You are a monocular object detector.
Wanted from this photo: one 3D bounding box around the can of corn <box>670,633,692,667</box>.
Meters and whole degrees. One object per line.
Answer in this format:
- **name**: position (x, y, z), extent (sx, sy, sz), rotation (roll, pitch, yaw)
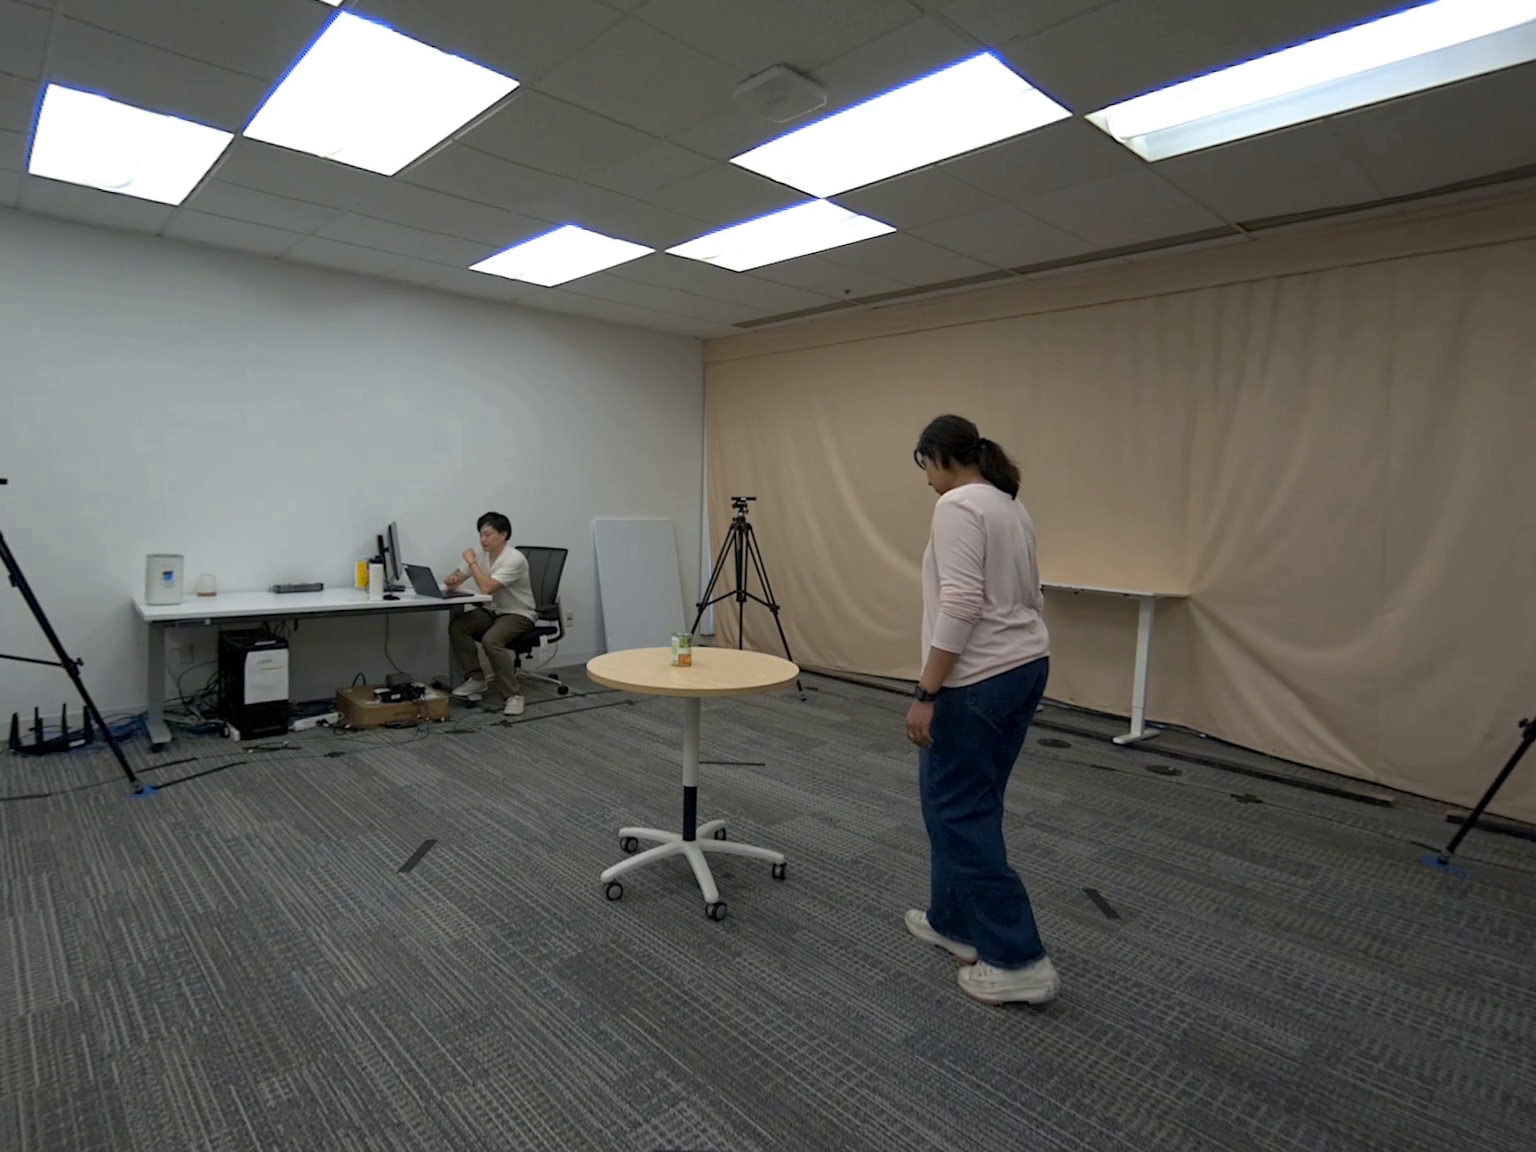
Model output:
- **can of corn**: position (-0.317, 0.267, 3.043), extent (0.074, 0.111, 0.074), rotation (2, 3, -1)
